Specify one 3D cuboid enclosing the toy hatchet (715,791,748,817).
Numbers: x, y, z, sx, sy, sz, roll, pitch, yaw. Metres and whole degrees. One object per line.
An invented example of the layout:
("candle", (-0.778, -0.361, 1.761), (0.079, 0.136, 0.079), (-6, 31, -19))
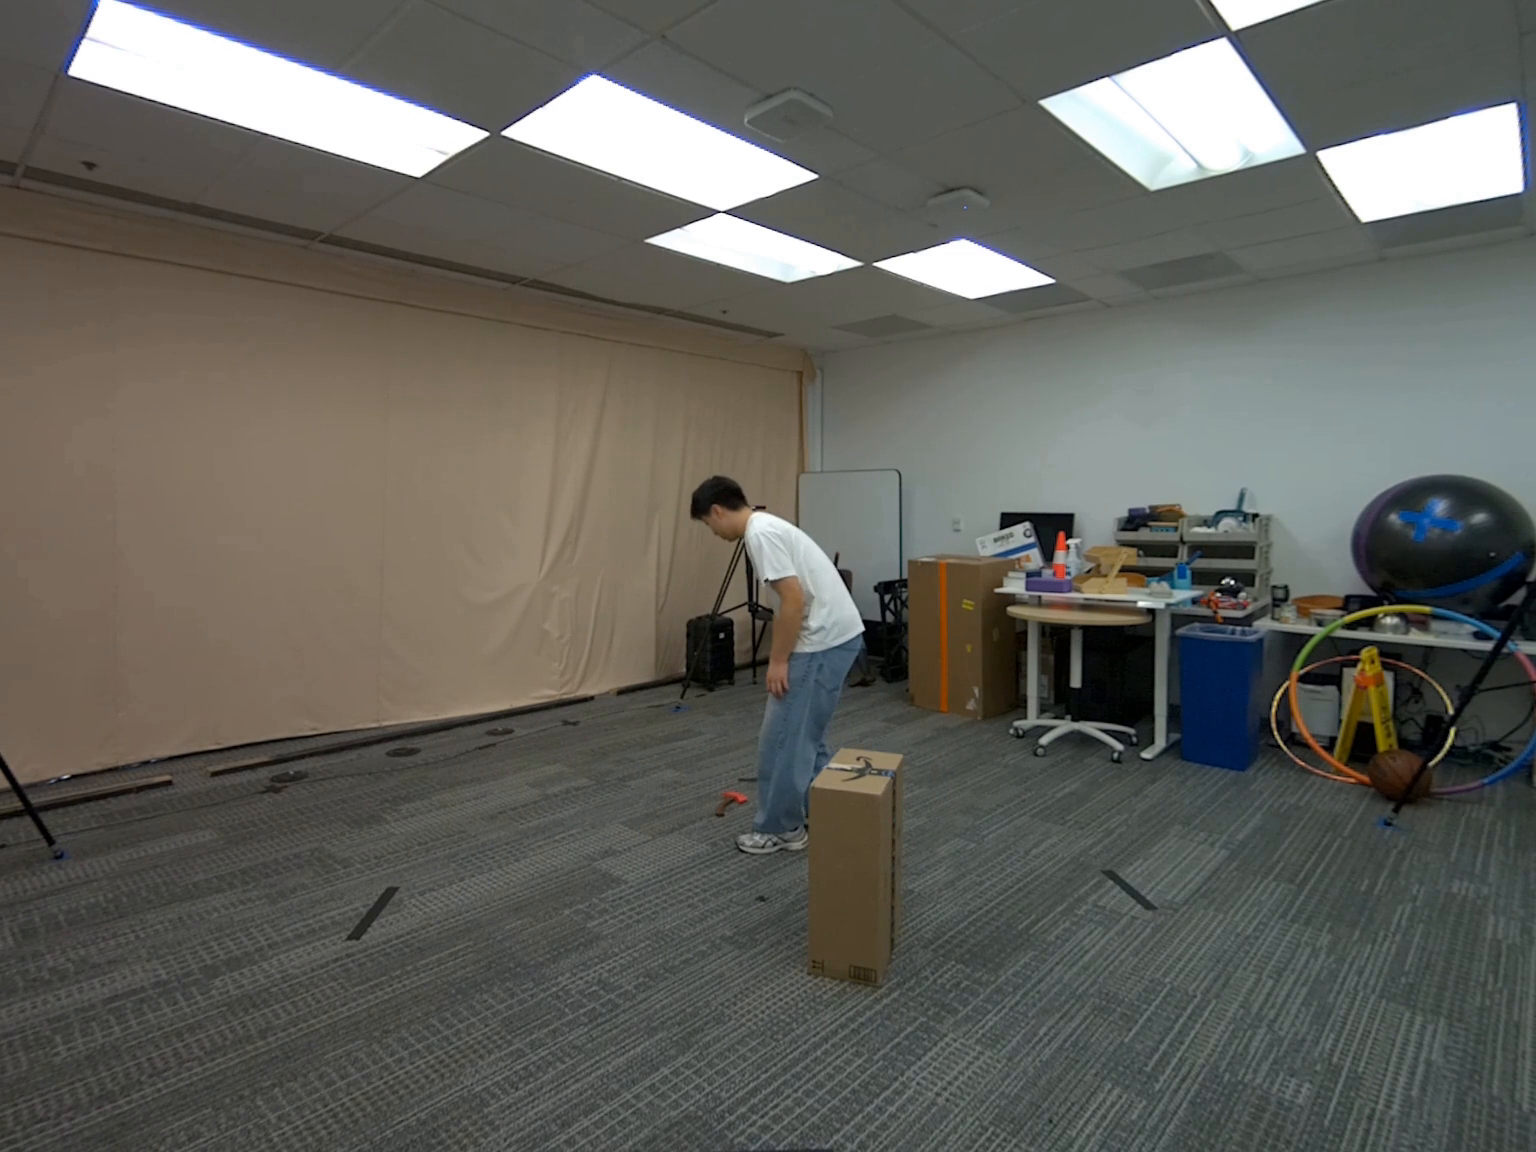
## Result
("toy hatchet", (-0.166, 1.056, 3.899), (0.132, 0.029, 0.269), (3, 7, 5))
